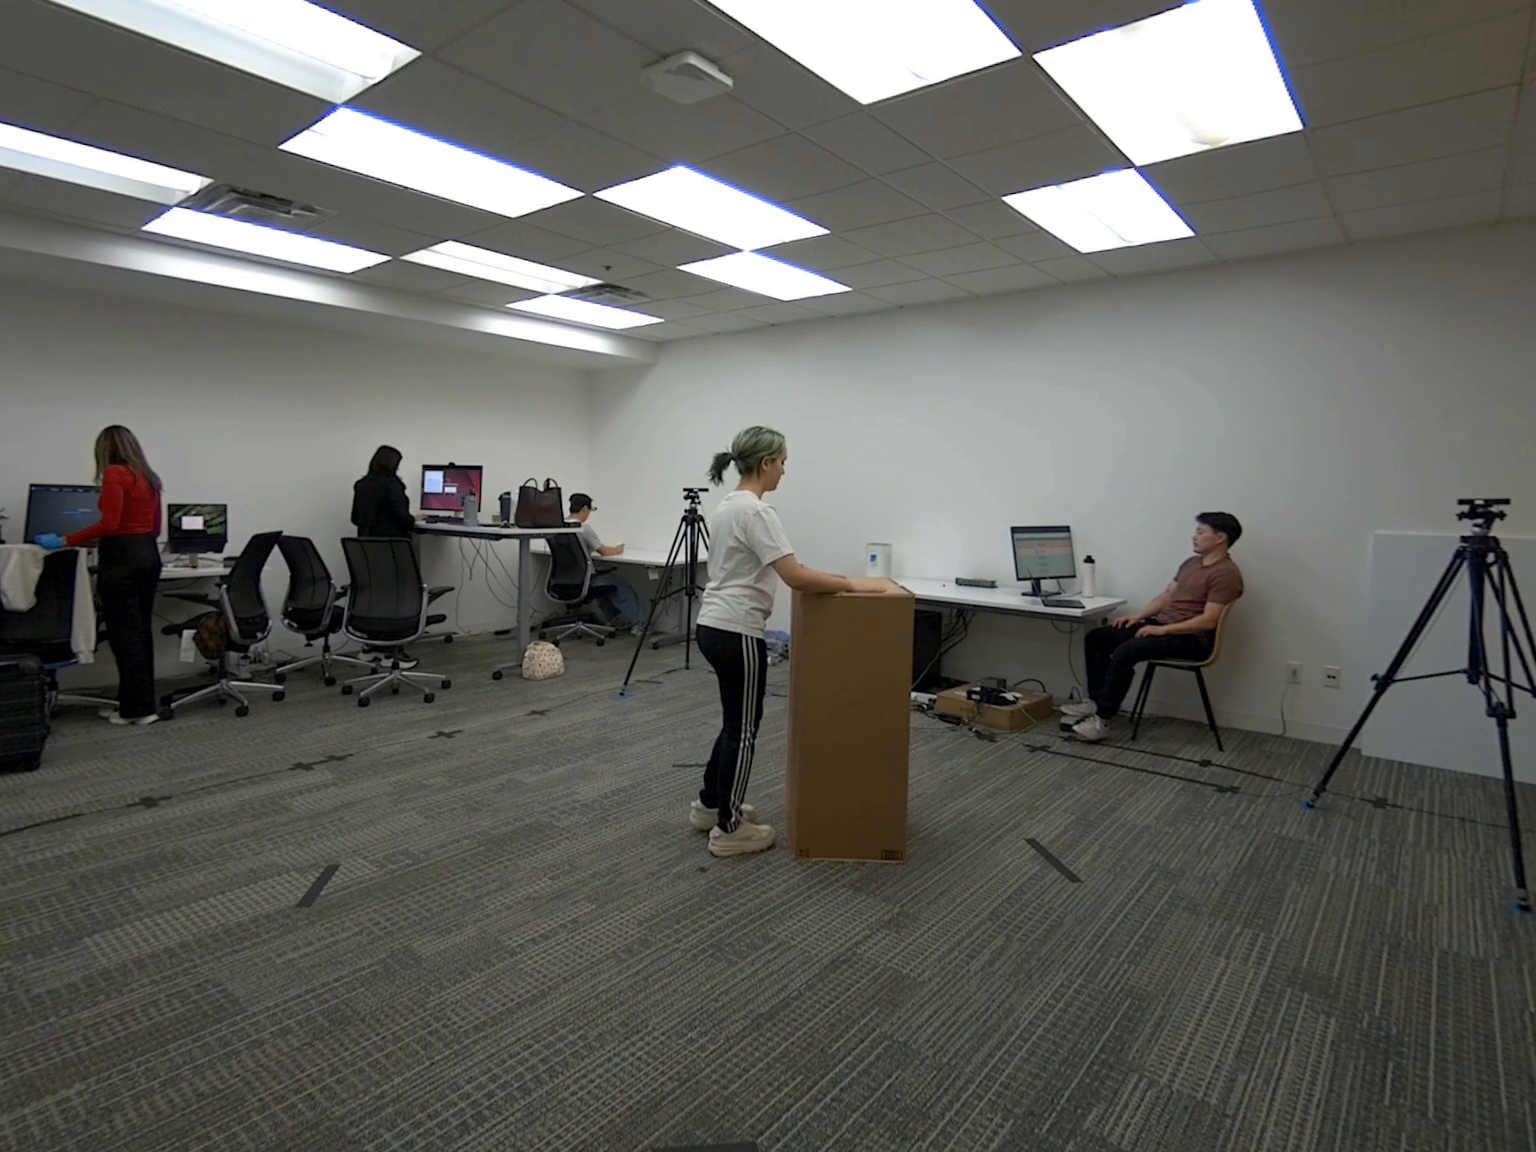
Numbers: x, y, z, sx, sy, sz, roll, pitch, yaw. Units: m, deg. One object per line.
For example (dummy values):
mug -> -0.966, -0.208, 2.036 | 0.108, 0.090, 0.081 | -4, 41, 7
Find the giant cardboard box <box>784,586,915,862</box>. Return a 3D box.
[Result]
giant cardboard box -> 0.304, 0.540, 3.457 | 0.447, 1.023, 0.587 | 2, 4, -1
